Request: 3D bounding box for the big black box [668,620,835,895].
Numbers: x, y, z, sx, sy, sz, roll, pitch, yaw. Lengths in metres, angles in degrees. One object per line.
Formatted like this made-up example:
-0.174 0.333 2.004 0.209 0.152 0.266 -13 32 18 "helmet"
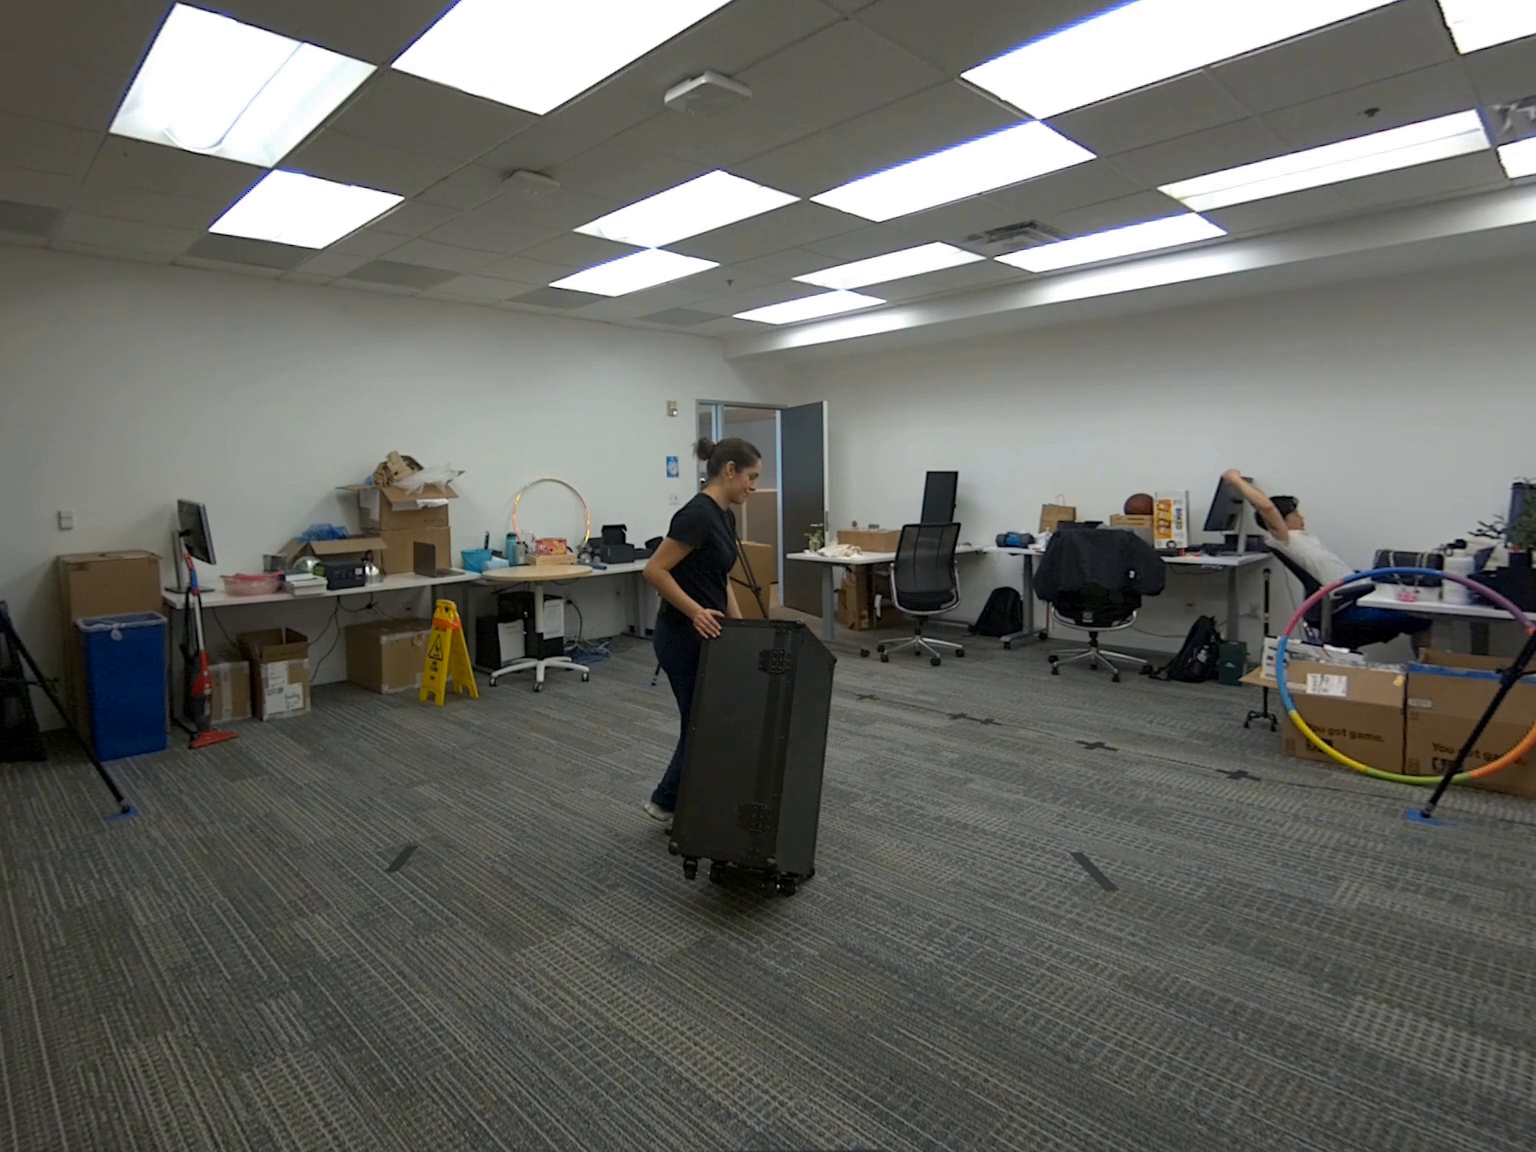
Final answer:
-0.044 0.624 2.981 0.404 0.875 0.503 -1 -22 20 "big black box"
